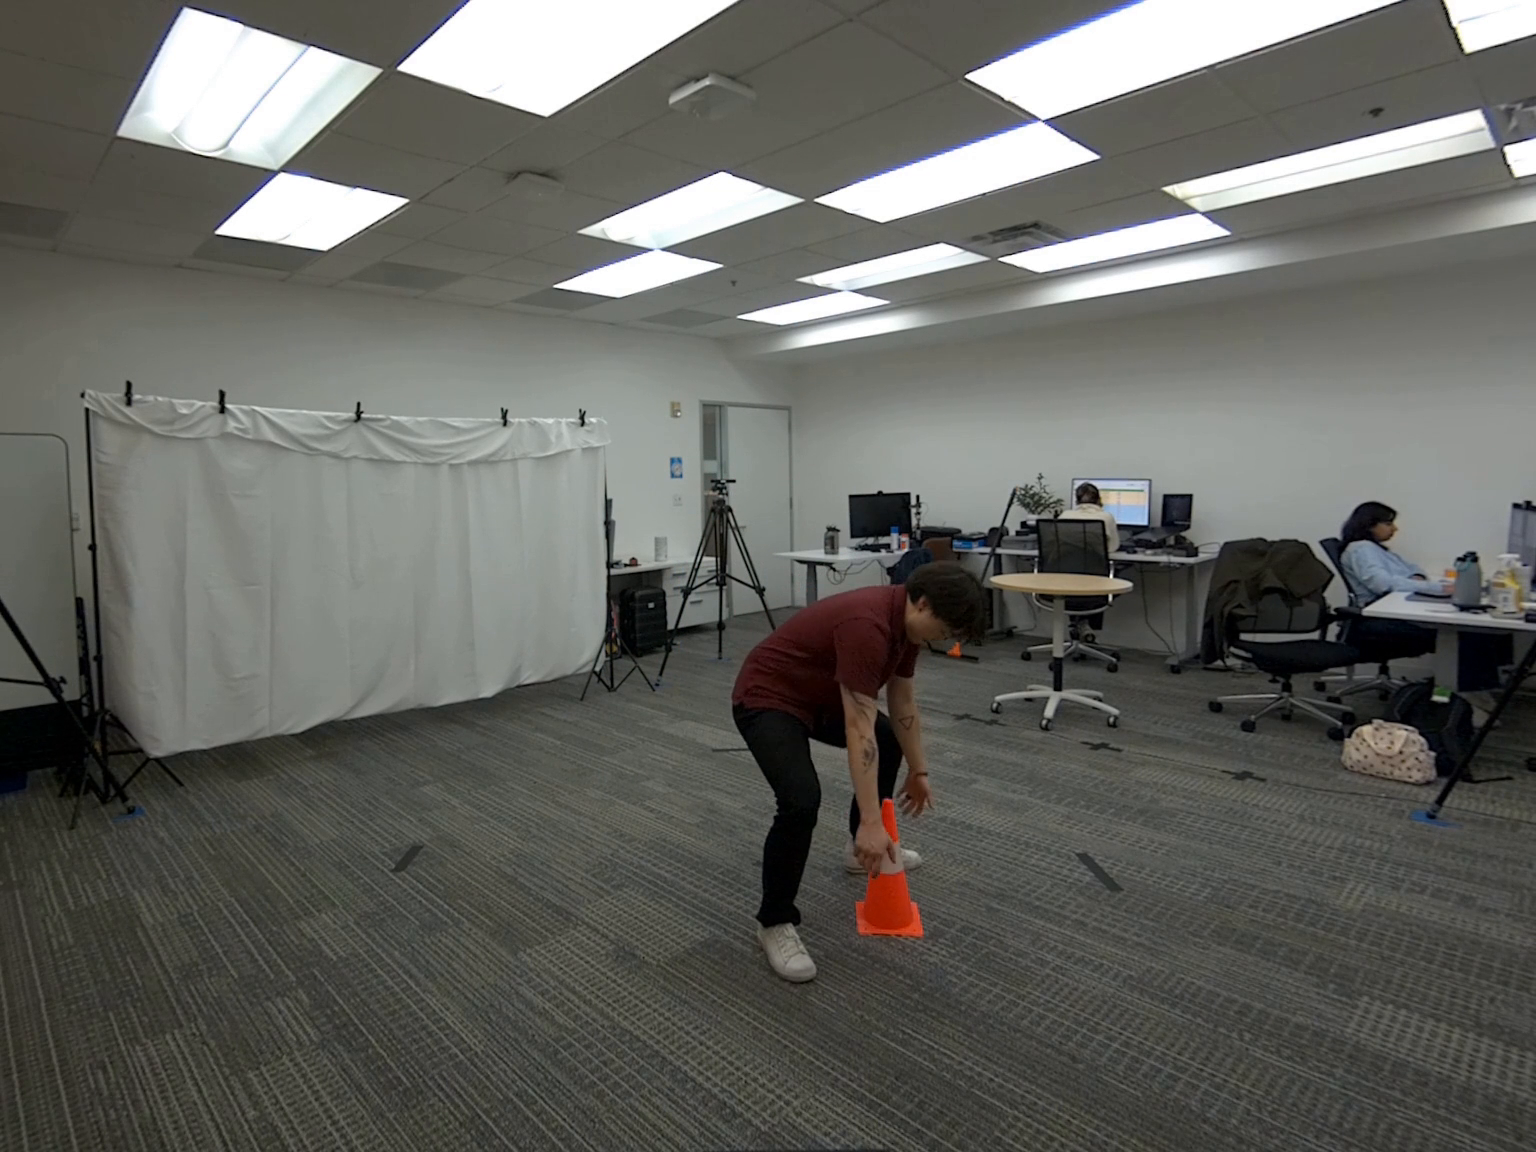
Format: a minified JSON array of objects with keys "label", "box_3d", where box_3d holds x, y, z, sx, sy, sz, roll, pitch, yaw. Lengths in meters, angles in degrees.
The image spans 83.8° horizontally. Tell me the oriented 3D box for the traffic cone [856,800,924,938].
[{"label":"traffic cone","box_3d":[0.391,0.902,2.697,0.206,0.382,0.202,0,4,7]}]
